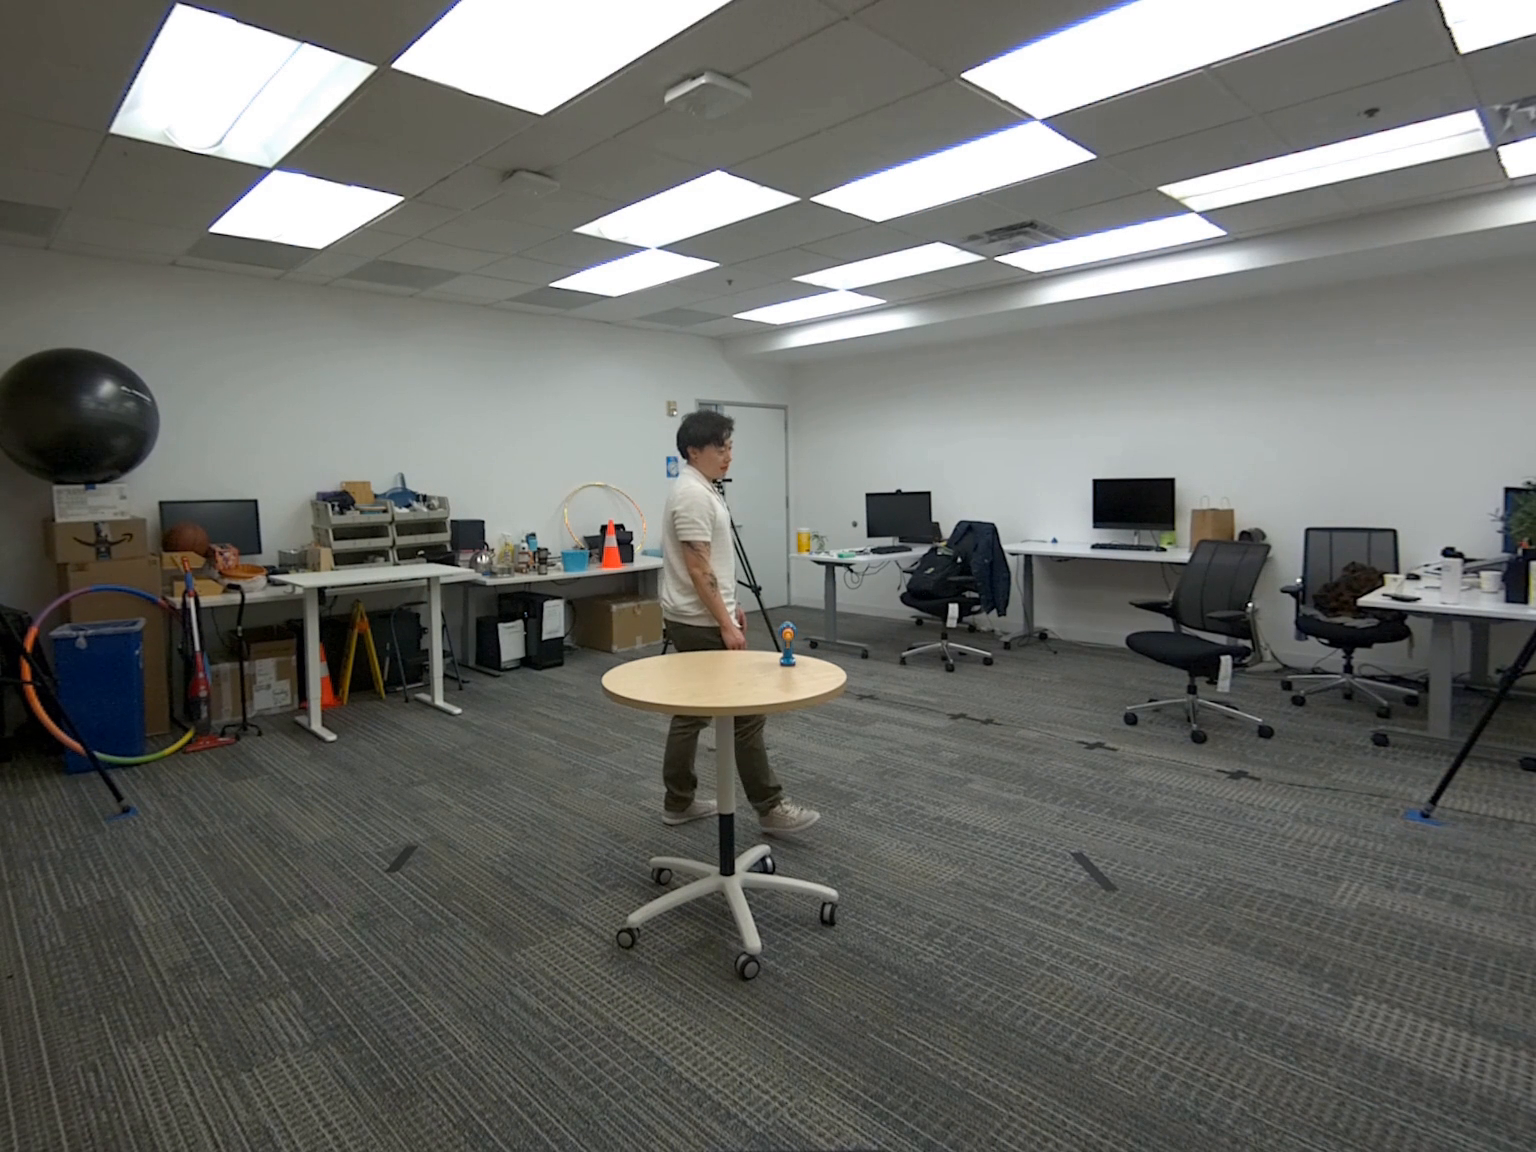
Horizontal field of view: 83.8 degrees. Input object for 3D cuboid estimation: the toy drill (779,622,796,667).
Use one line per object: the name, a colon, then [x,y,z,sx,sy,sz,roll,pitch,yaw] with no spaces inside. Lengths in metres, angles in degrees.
toy drill: [0.067,0.223,2.776,0.061,0.145,0.170,0,6,-1]
